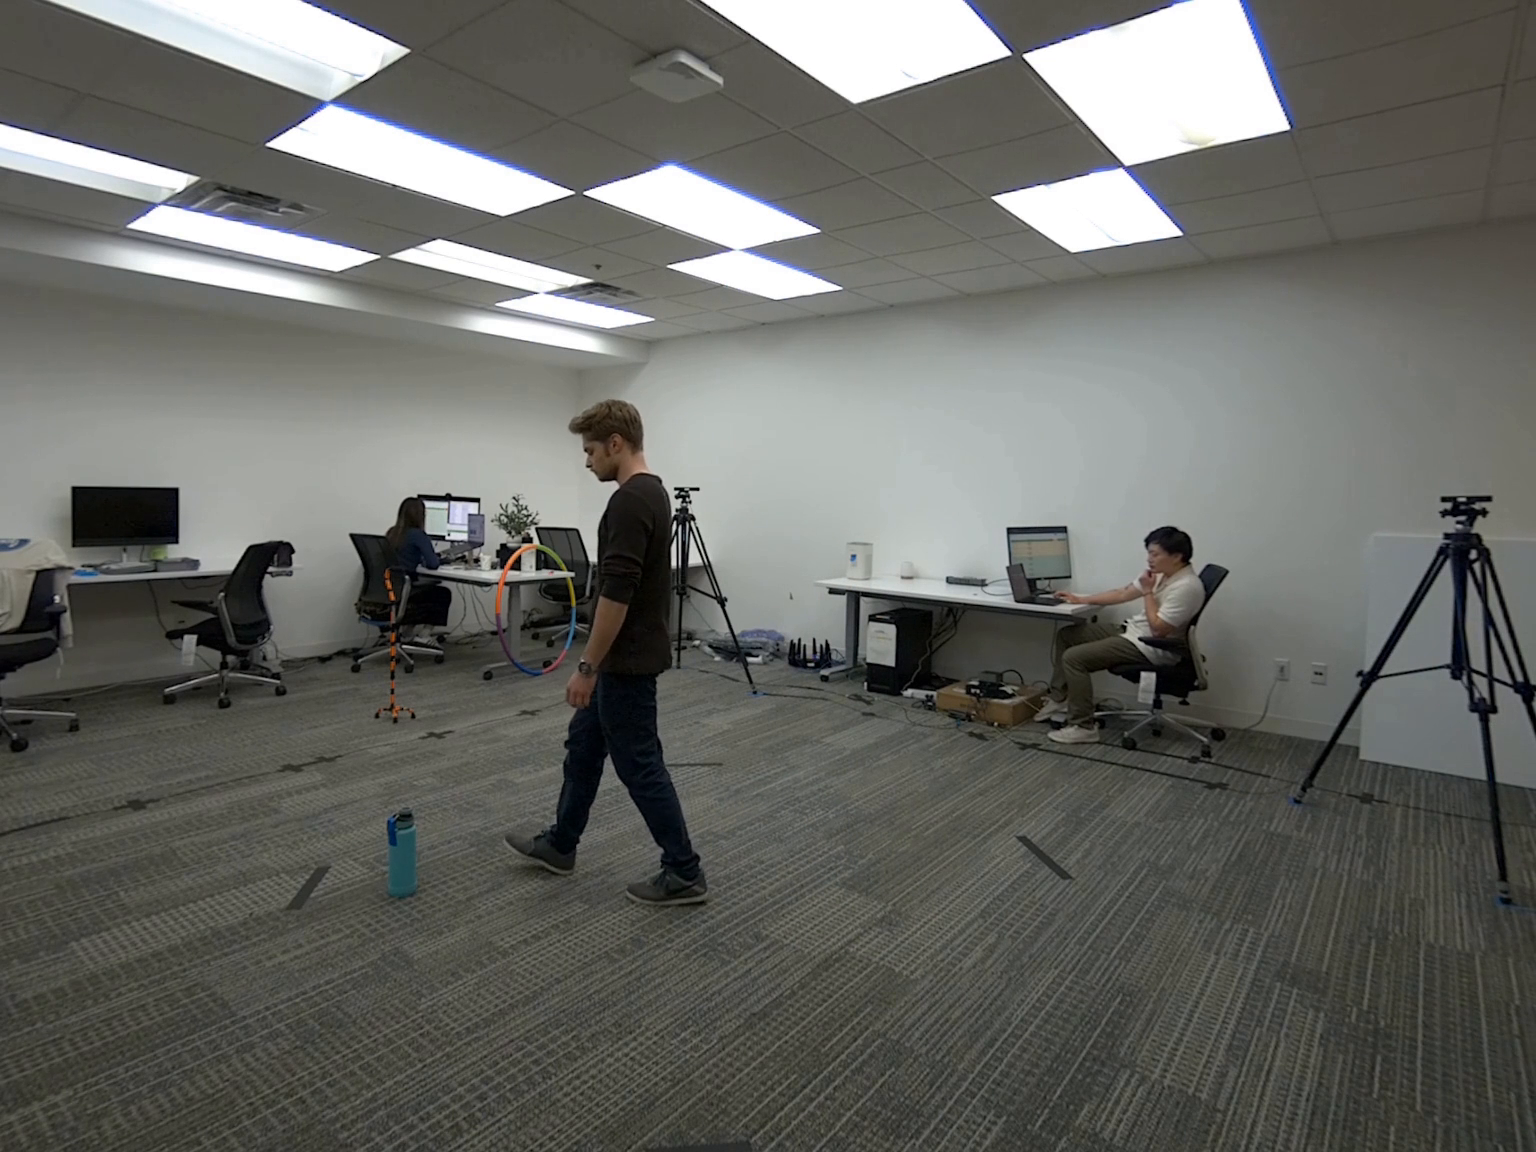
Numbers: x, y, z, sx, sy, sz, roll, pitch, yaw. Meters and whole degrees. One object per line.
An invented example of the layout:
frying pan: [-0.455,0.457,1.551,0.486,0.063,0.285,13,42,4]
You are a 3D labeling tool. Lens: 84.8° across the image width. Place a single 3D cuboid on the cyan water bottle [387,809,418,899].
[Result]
cyan water bottle: [-1.253,0.933,2.890,0.092,0.282,0.093,0,4,-2]
